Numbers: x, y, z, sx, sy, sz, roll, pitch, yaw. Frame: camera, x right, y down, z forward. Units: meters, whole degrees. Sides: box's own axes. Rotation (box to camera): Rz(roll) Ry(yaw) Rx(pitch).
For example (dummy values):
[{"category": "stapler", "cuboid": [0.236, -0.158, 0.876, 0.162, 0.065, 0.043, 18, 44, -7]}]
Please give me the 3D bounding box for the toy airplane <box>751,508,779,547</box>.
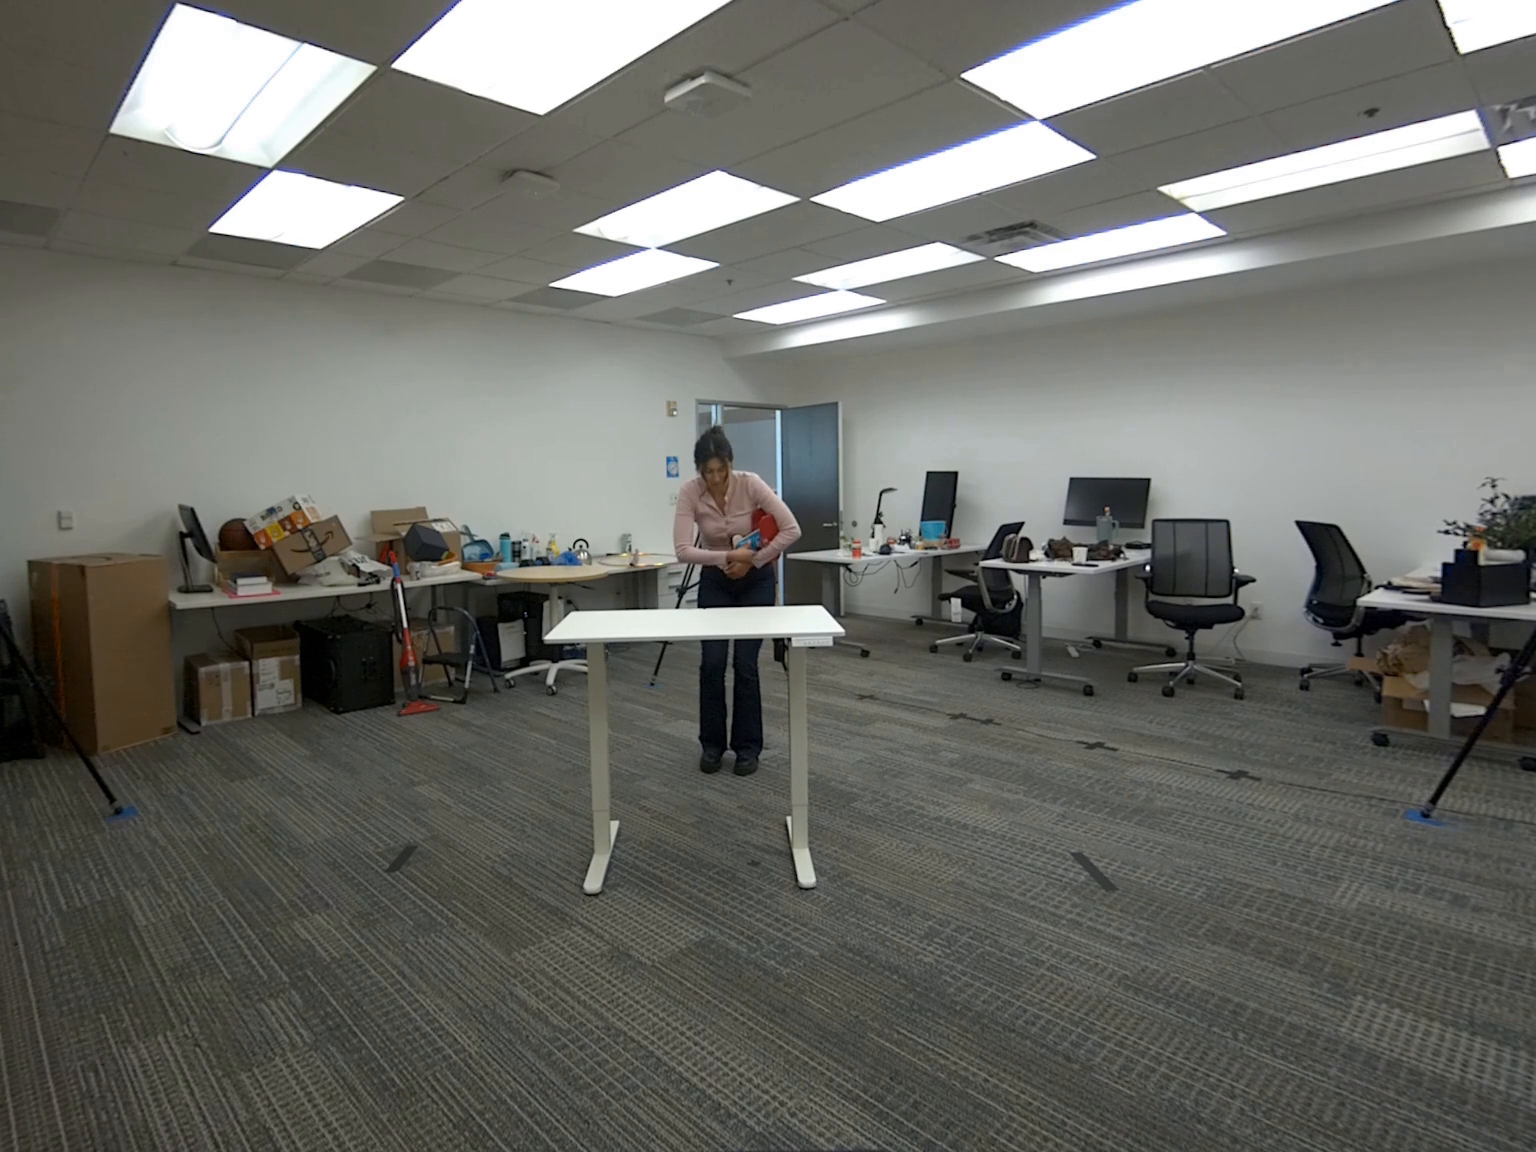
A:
[{"category": "toy airplane", "cuboid": [-0.057, -0.157, 4.026, 0.162, 0.260, 0.241, 22, -19, 43]}]
